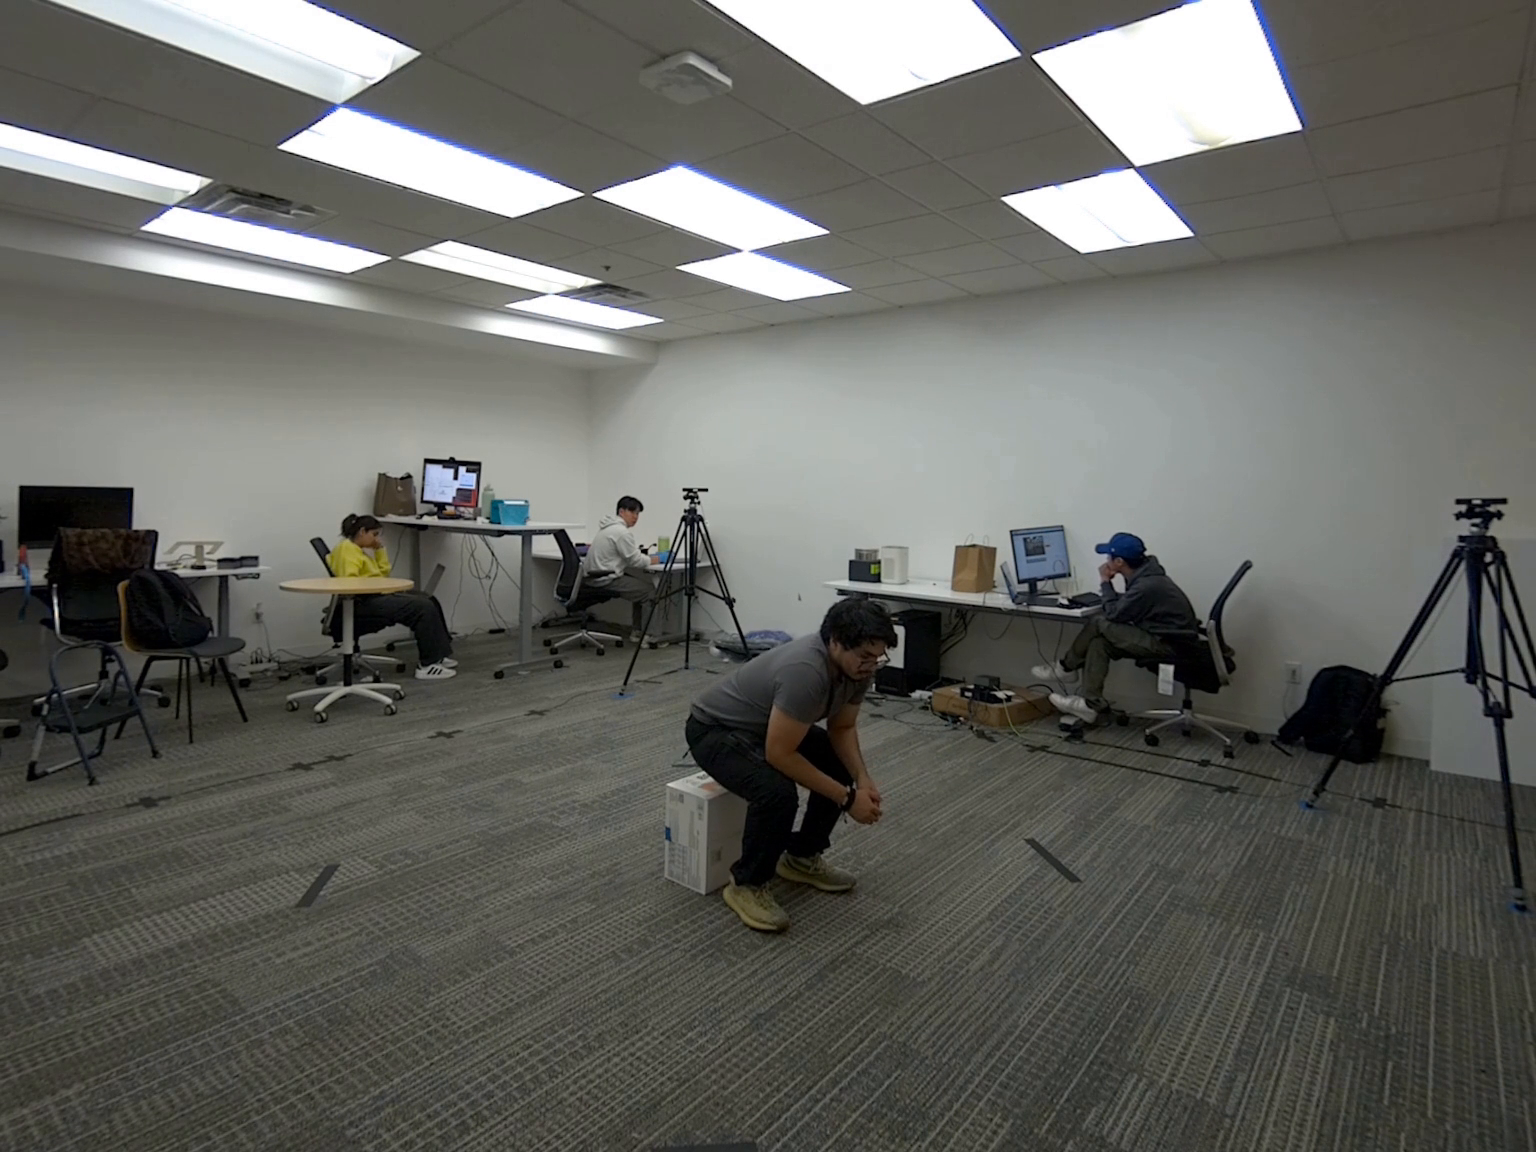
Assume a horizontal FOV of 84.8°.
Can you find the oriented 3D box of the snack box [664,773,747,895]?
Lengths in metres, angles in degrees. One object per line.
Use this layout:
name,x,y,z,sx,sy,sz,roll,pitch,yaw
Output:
snack box,-0.175,0.901,3.110,0.212,0.339,0.393,4,5,39
